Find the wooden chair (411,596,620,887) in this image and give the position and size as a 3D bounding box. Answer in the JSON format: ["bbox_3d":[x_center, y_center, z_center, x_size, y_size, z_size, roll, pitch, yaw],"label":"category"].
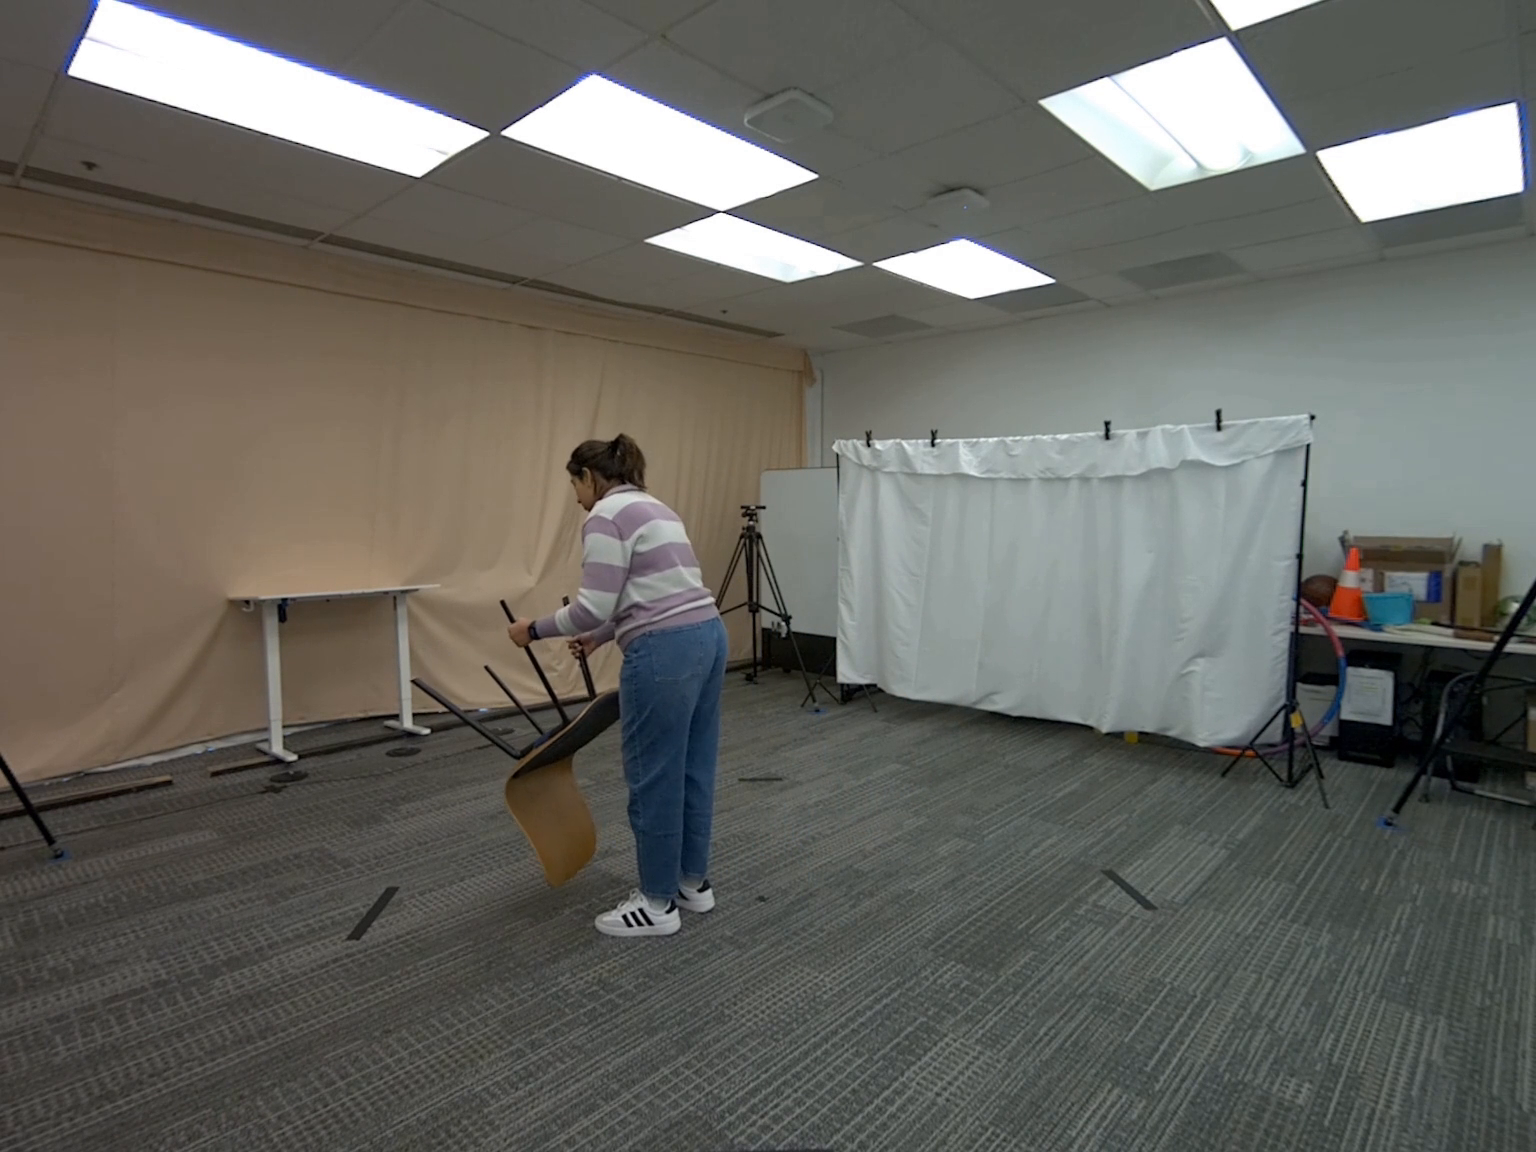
[{"bbox_3d":[-0.722,0.551,2.923,0.526,0.889,0.469,-35,-11,12],"label":"wooden chair"}]
